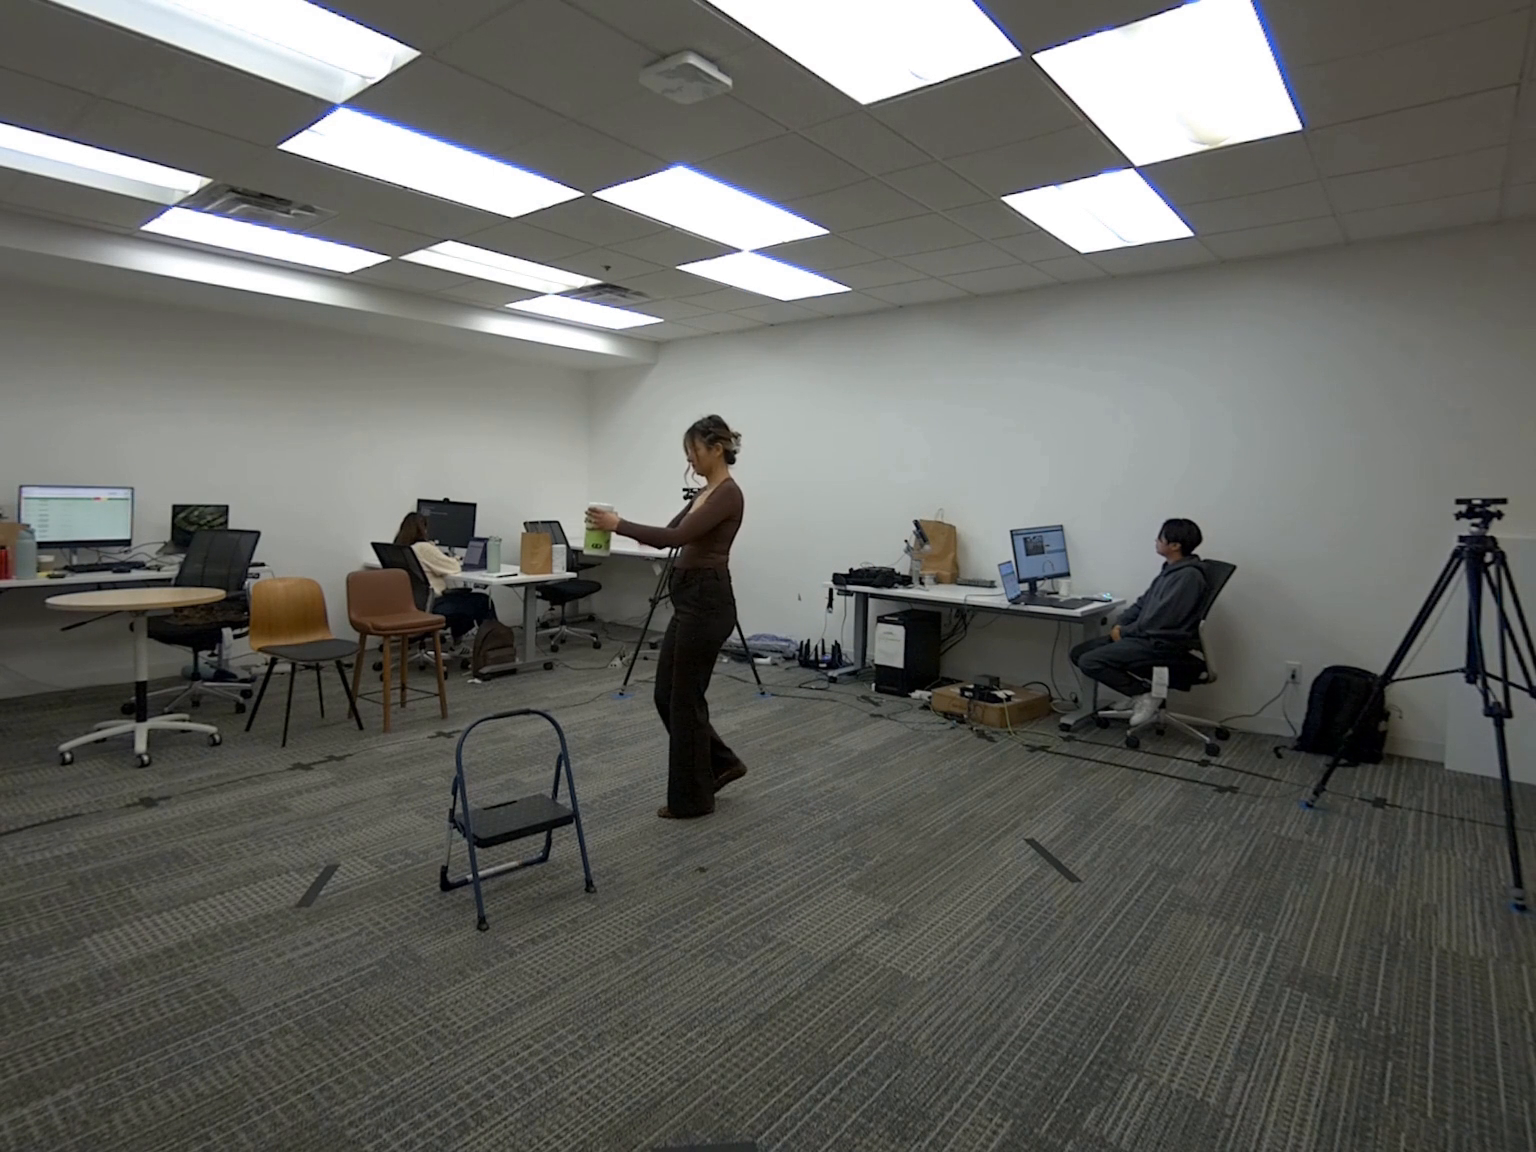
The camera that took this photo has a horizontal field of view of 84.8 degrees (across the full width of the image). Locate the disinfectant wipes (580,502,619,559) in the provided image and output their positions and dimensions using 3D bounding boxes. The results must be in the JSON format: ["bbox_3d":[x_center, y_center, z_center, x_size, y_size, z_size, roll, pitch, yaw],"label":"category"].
[{"bbox_3d":[-0.705,-0.190,3.512,0.118,0.218,0.117,6,-2,-2],"label":"disinfectant wipes"}]
